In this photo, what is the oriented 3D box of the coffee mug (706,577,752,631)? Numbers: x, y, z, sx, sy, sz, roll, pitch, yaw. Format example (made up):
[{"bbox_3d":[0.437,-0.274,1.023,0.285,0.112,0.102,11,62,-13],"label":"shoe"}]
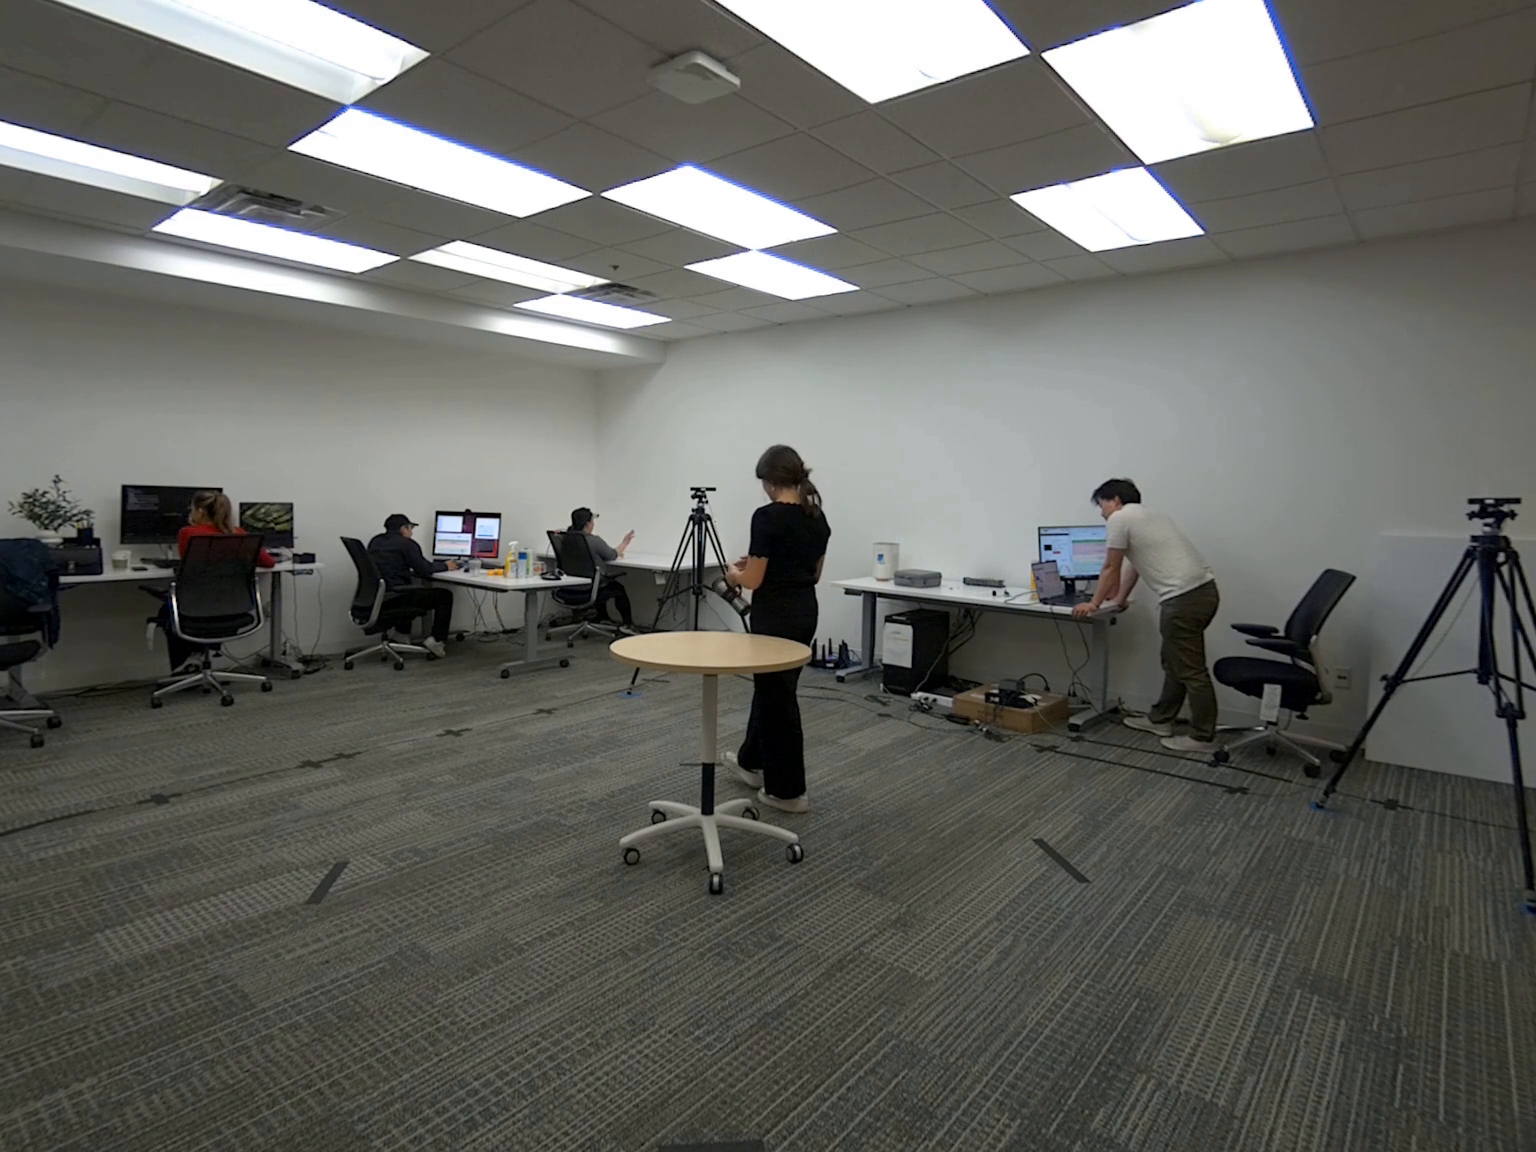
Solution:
[{"bbox_3d":[-0.170,0.091,3.894,0.087,0.210,0.118,-32,-30,-19],"label":"coffee mug"}]
